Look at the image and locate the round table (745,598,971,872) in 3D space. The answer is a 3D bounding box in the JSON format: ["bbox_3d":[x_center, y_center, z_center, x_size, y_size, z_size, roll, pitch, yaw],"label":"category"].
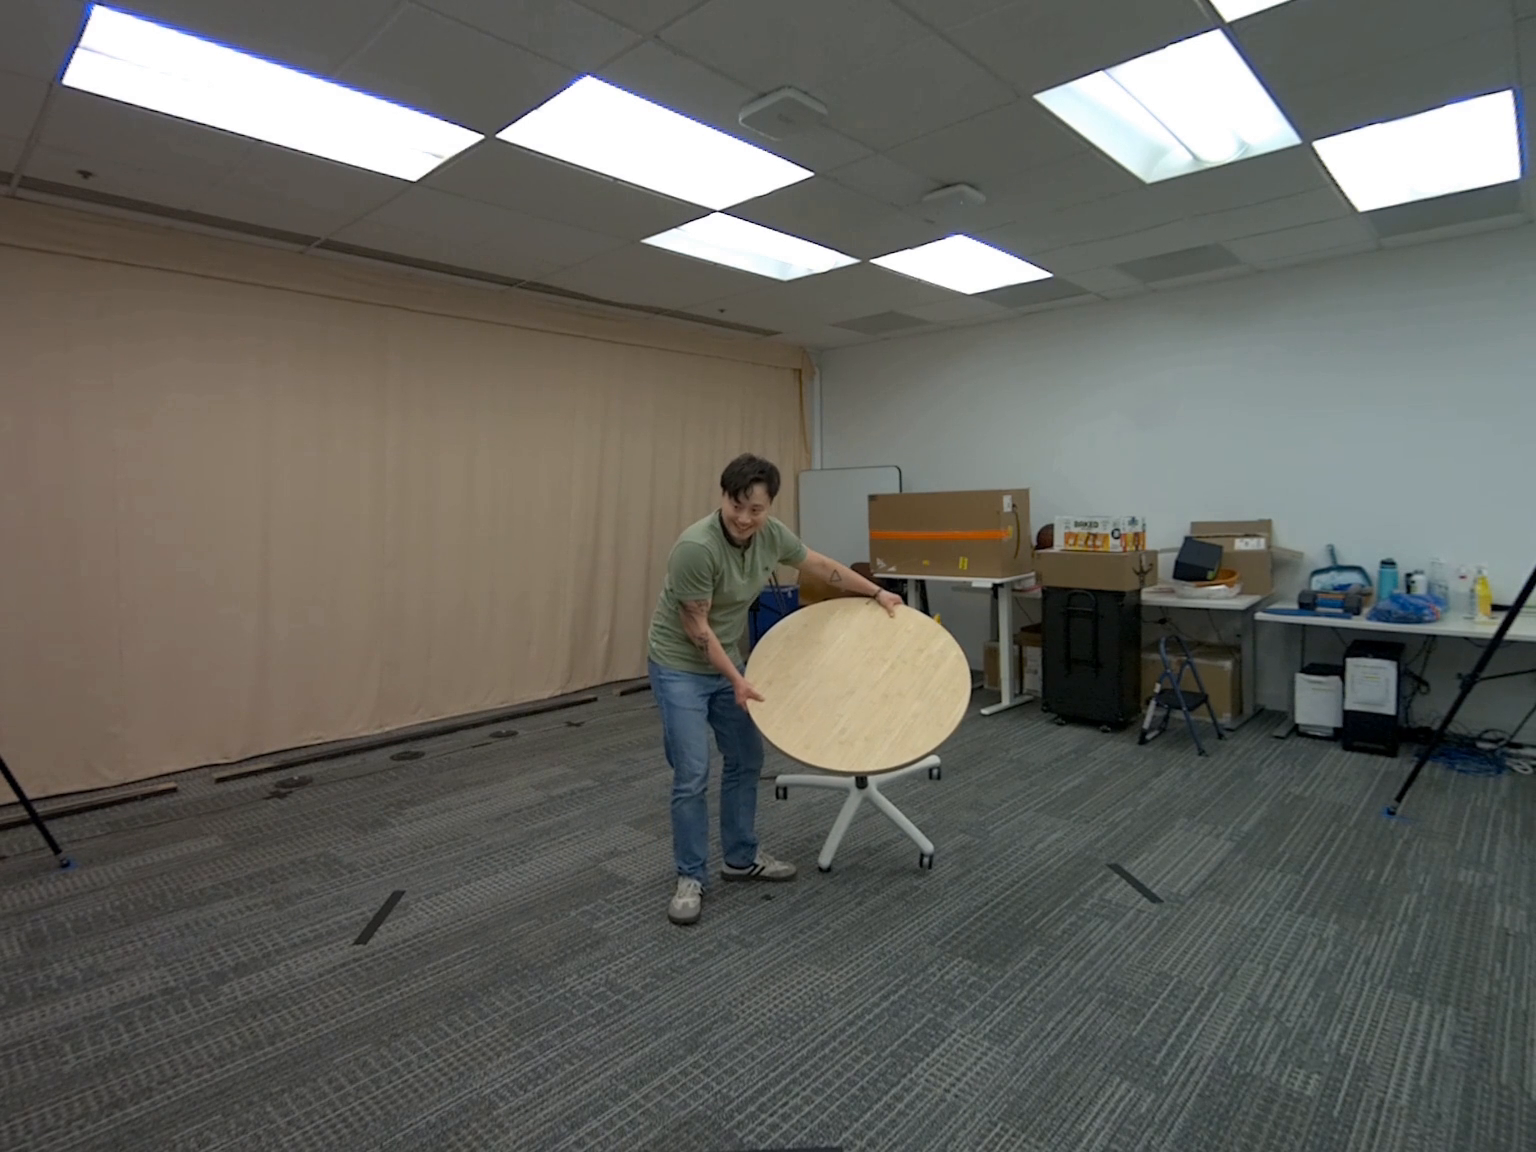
[{"bbox_3d":[0.344,0.630,3.137,0.767,0.775,0.779,-6,40,3],"label":"round table"}]
